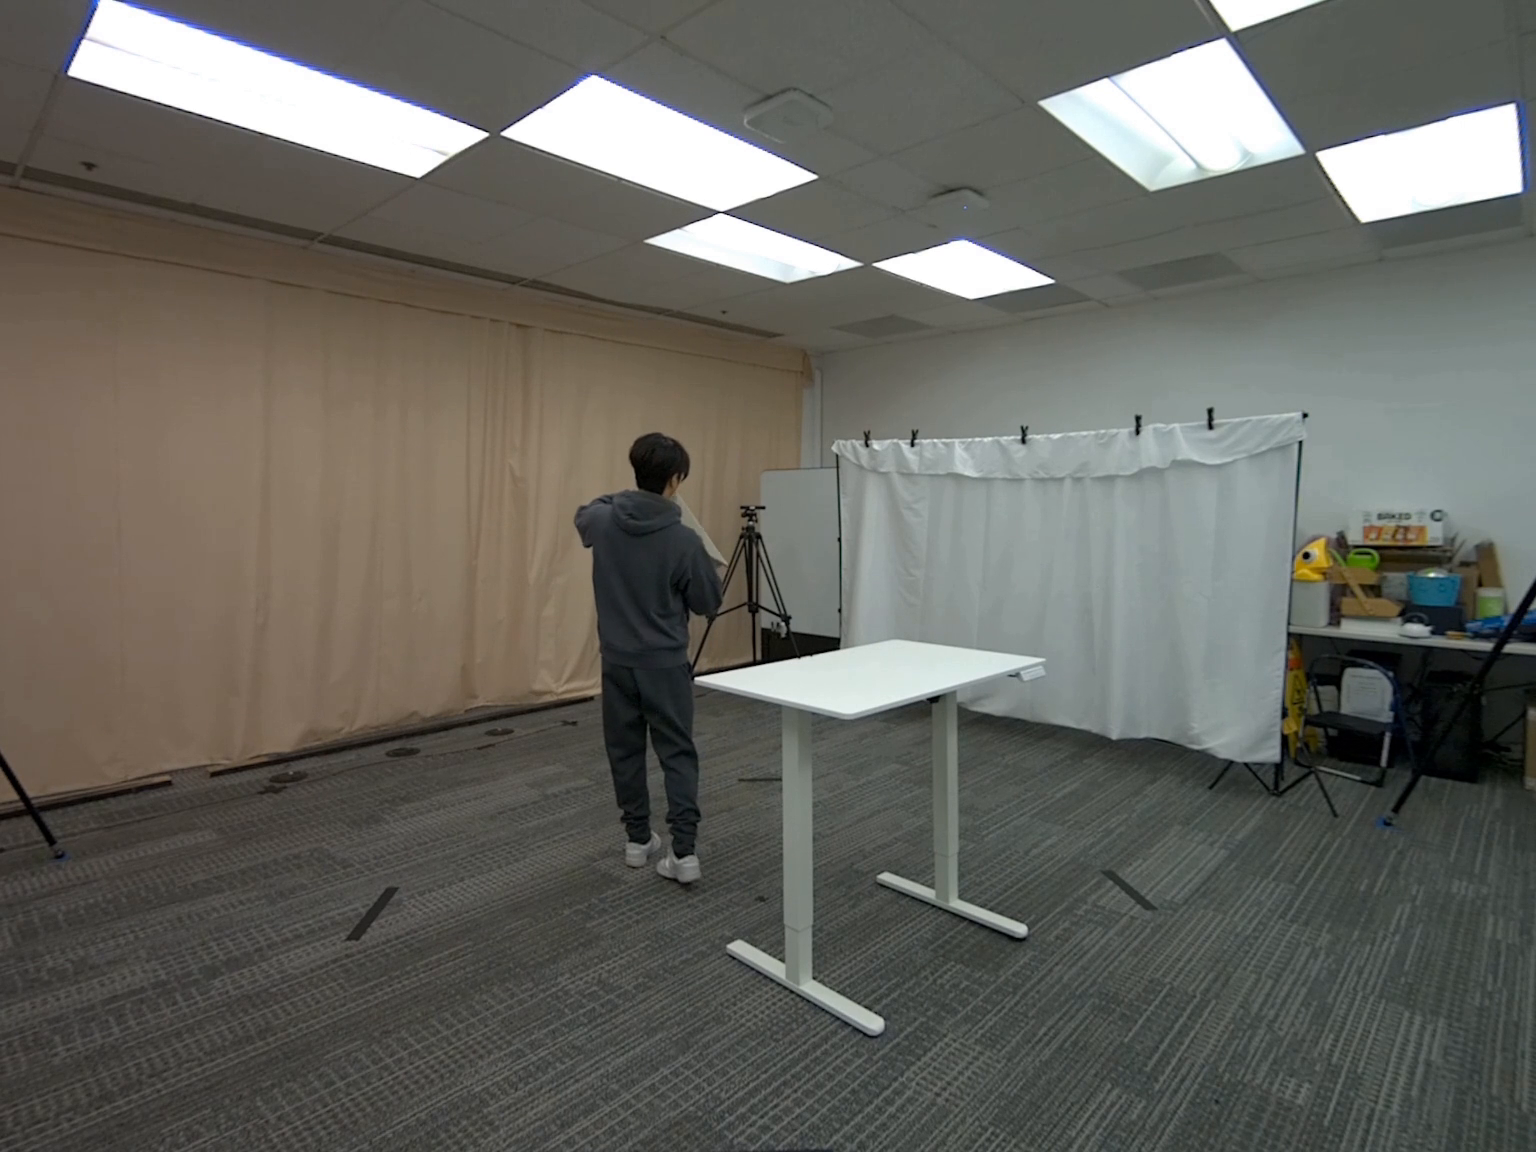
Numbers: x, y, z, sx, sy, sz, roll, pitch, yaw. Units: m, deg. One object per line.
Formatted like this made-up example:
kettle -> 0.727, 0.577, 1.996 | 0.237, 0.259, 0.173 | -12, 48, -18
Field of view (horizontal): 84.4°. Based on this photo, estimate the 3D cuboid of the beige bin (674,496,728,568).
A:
beige bin -> -0.397, -0.184, 3.639 | 0.189, 0.429, 0.370 | -37, -14, 5
